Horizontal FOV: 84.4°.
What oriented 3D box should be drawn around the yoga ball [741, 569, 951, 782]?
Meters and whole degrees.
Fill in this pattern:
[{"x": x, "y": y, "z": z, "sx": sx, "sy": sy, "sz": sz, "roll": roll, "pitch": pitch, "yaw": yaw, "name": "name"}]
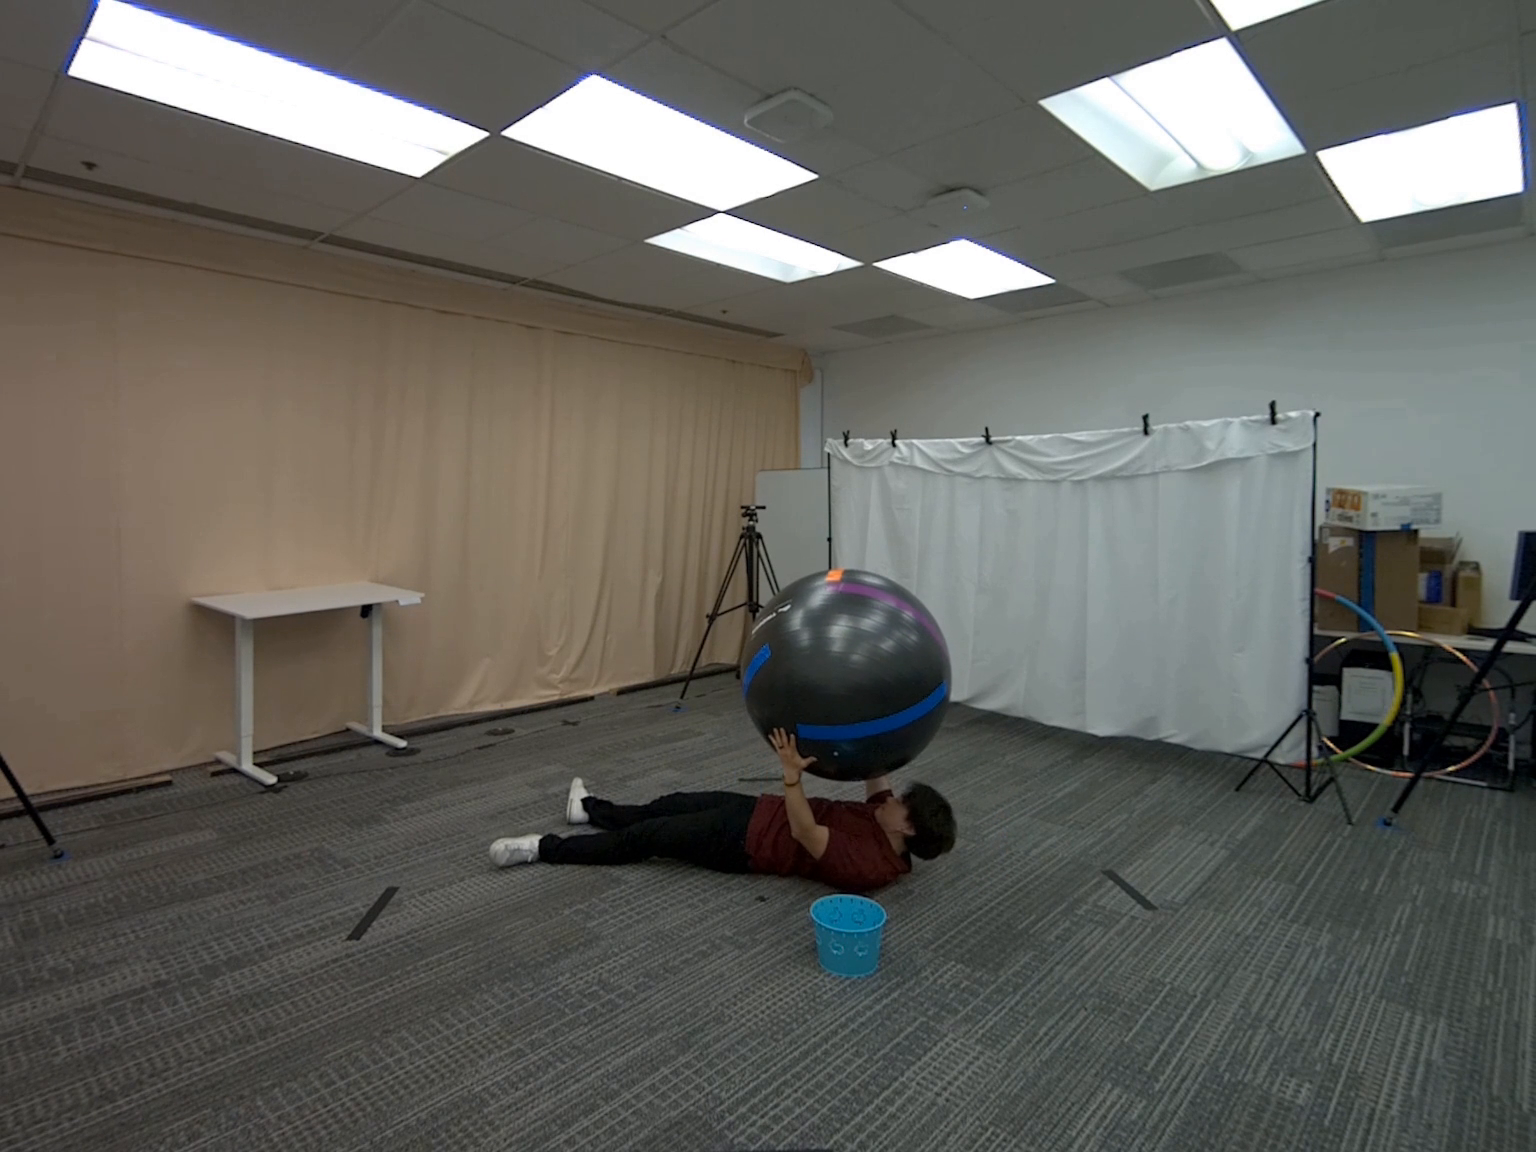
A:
[{"x": 0.277, "y": 0.359, "z": 3.061, "sx": 0.757, "sy": 0.756, "sz": 0.760, "roll": 0, "pitch": 4, "yaw": -2, "name": "yoga ball"}]
